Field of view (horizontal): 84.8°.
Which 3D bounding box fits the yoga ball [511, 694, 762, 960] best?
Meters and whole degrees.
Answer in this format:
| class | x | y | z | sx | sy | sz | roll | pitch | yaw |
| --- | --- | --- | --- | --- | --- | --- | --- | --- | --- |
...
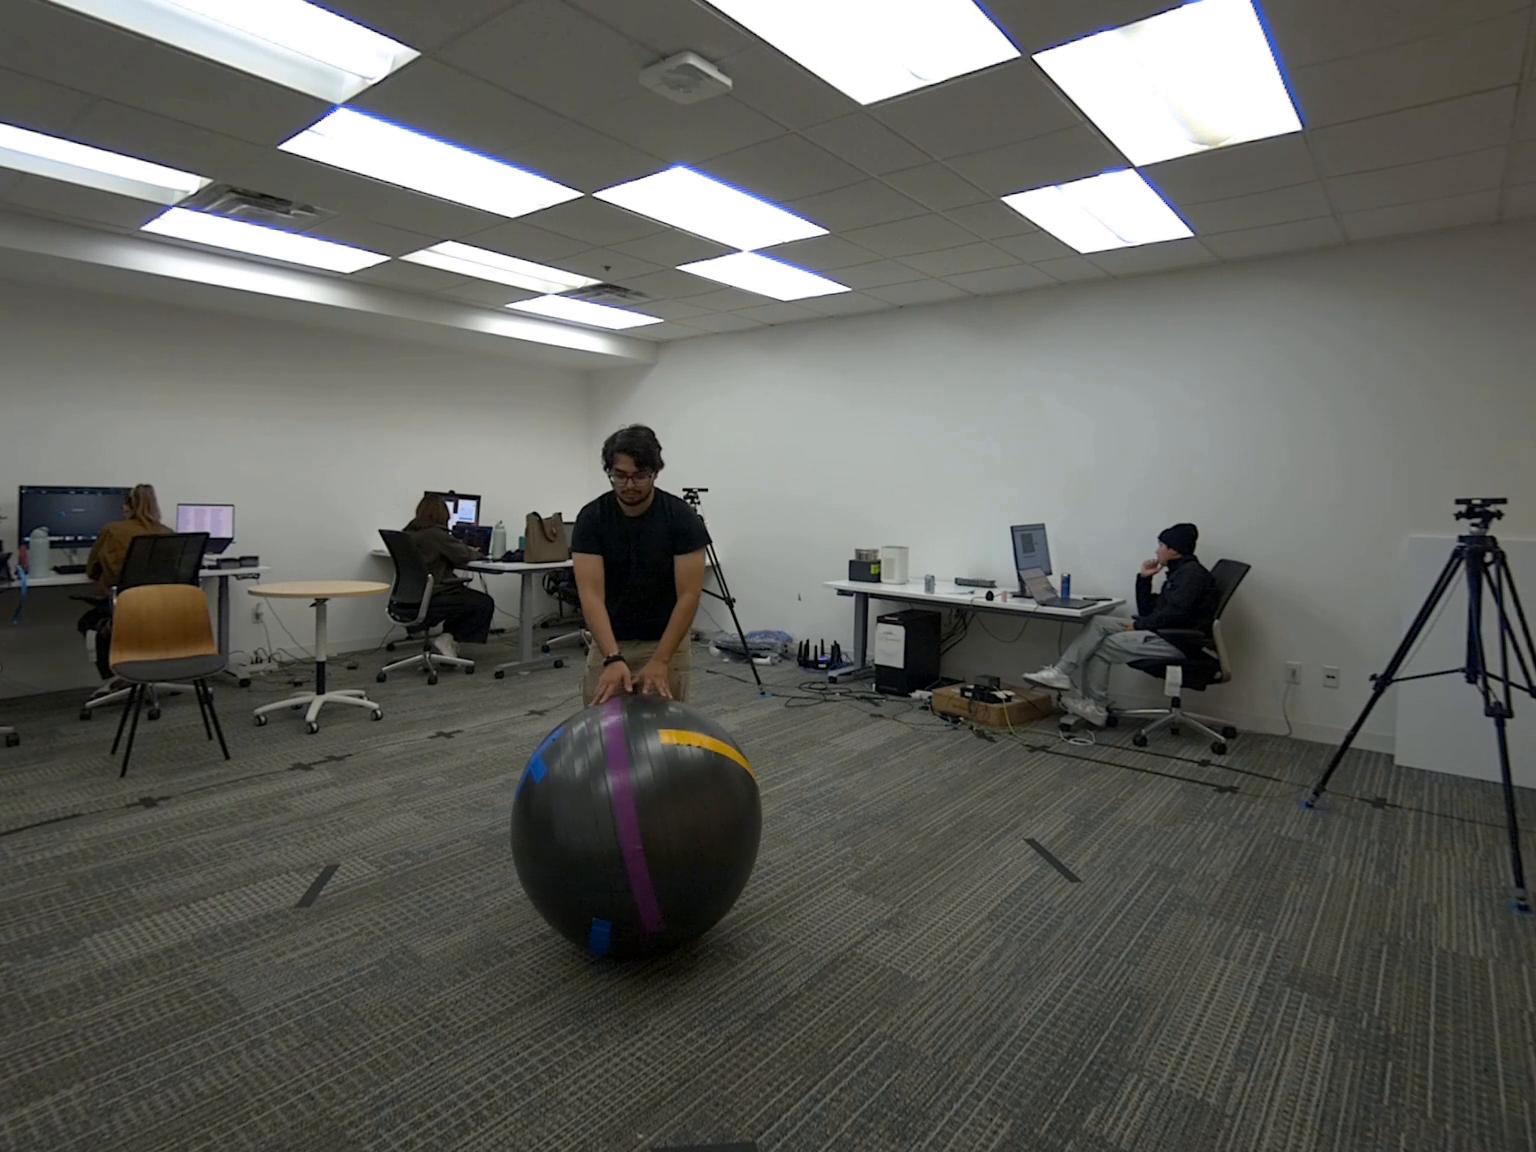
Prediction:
| class | x | y | z | sx | sy | sz | roll | pitch | yaw |
| --- | --- | --- | --- | --- | --- | --- | --- | --- | --- |
| yoga ball | -0.408 | 0.753 | 2.597 | 0.757 | 0.755 | 0.762 | 1 | 4 | -2 |
